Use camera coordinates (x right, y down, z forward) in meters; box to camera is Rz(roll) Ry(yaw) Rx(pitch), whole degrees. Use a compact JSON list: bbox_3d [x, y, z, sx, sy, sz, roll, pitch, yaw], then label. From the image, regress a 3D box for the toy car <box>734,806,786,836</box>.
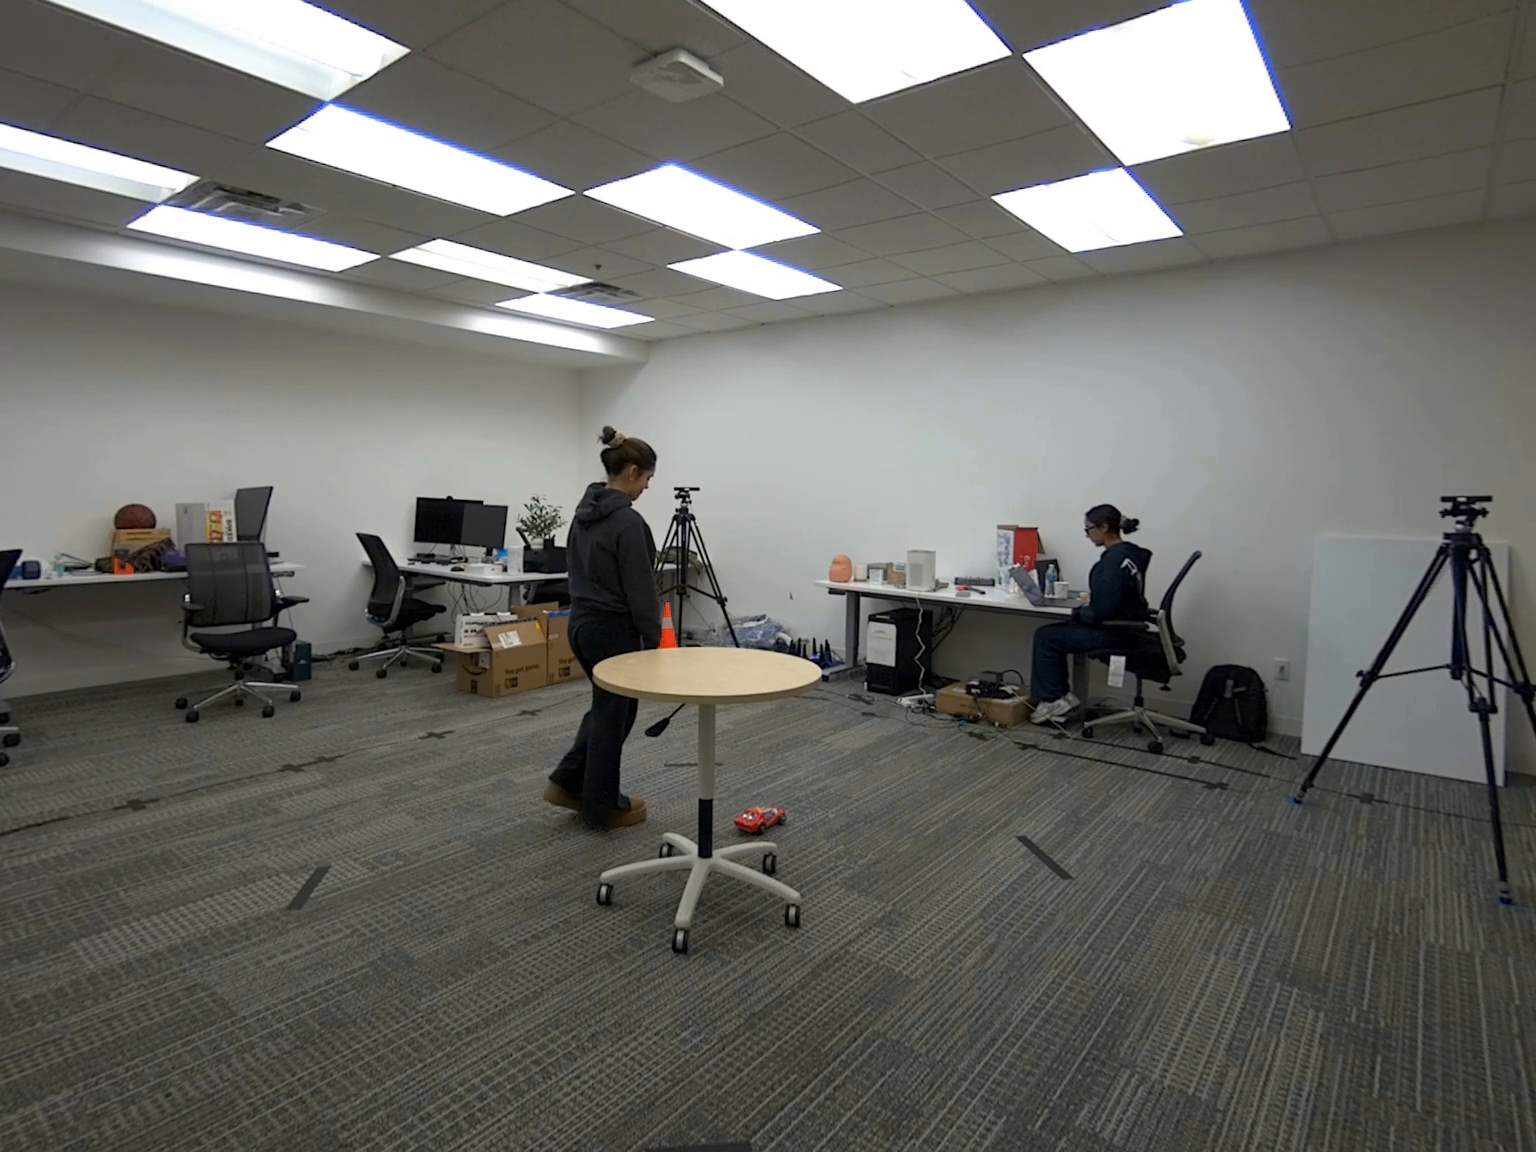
[{"bbox_3d":[-0.035,1.001,3.502,0.135,0.083,0.245,6,-4,40],"label":"toy car"}]
